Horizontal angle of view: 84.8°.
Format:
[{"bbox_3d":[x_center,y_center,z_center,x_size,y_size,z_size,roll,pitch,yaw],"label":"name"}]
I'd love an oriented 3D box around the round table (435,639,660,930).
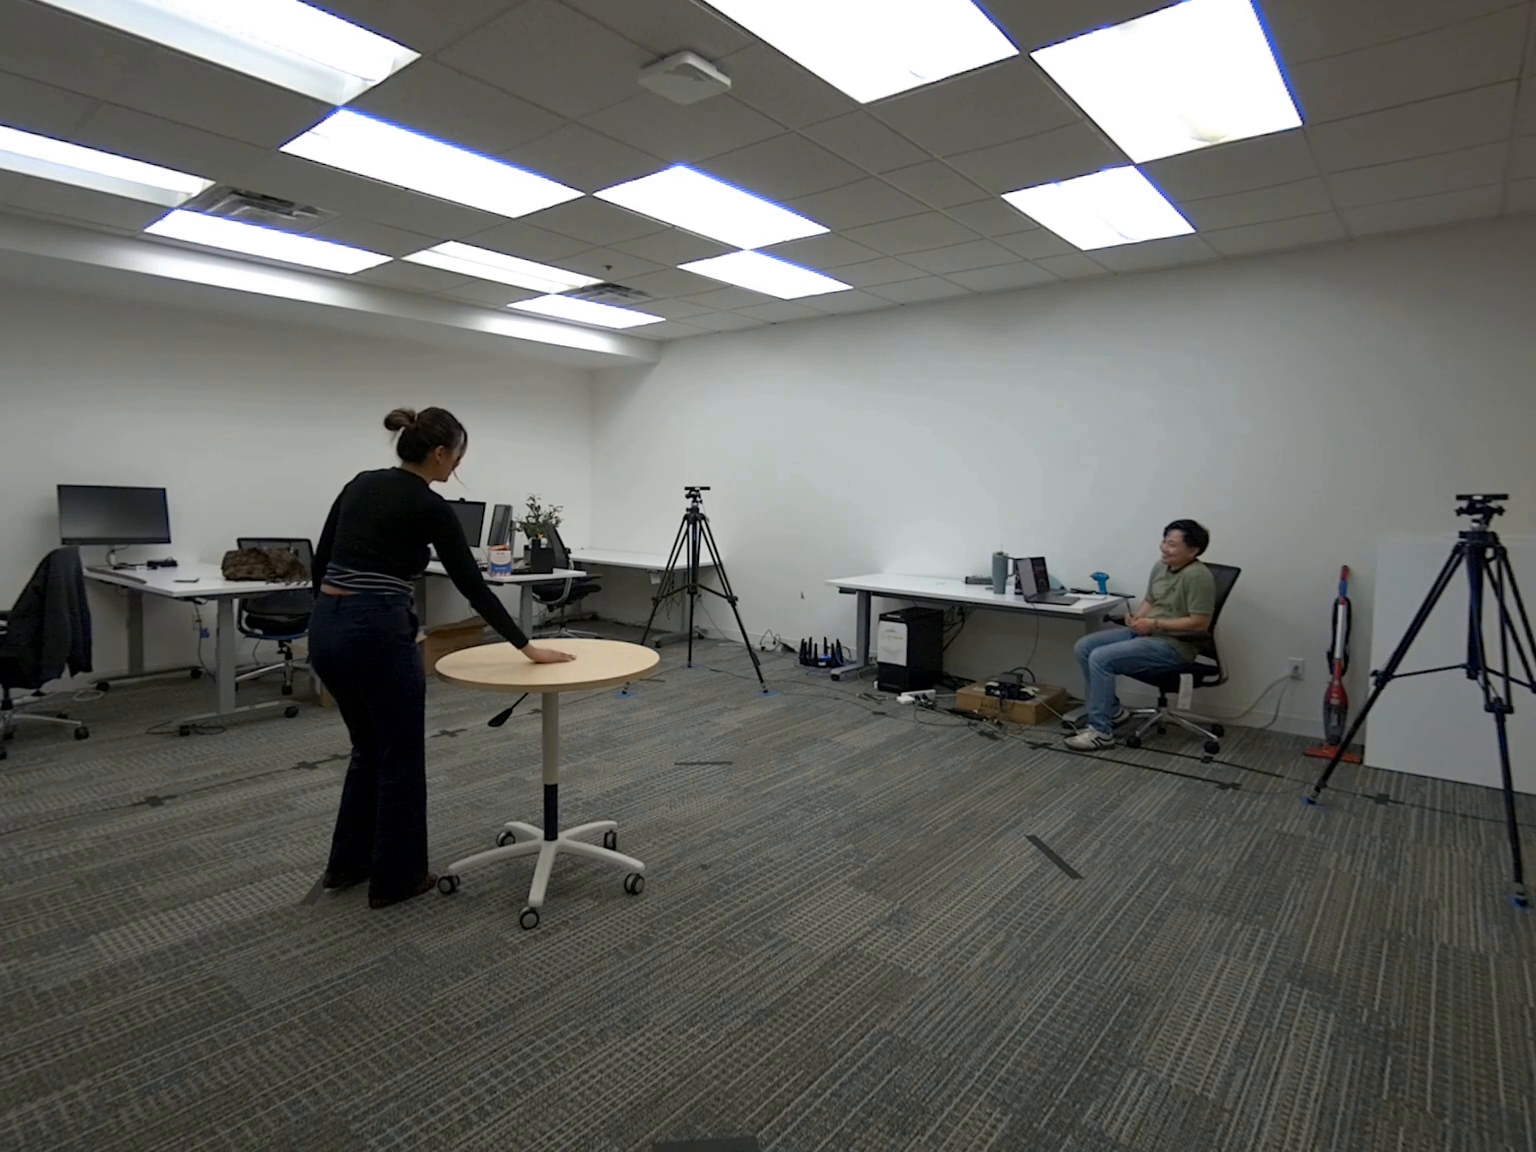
[{"bbox_3d":[-0.777,0.682,2.996,0.763,0.791,0.768,0,4,-2],"label":"round table"}]
